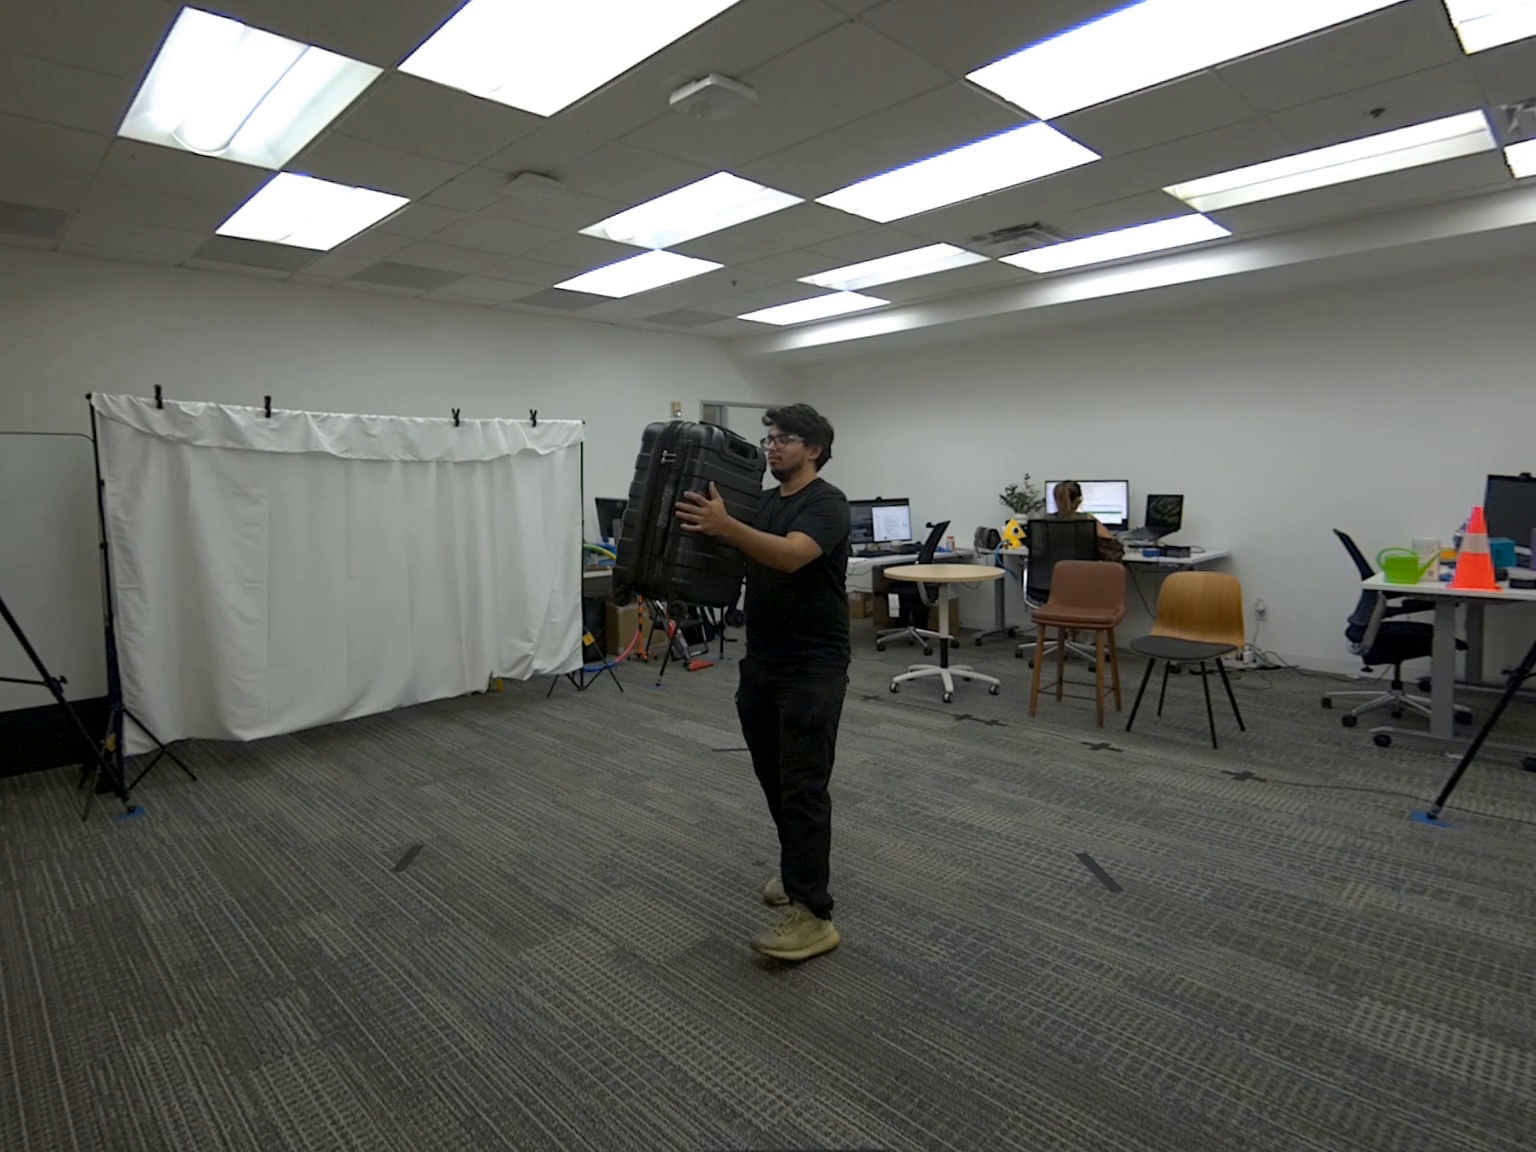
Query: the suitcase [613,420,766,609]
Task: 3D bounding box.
[{"bbox_3d":[-0.214,-0.163,2.448,0.256,0.550,0.363,10,-2,34],"label":"suitcase"}]
